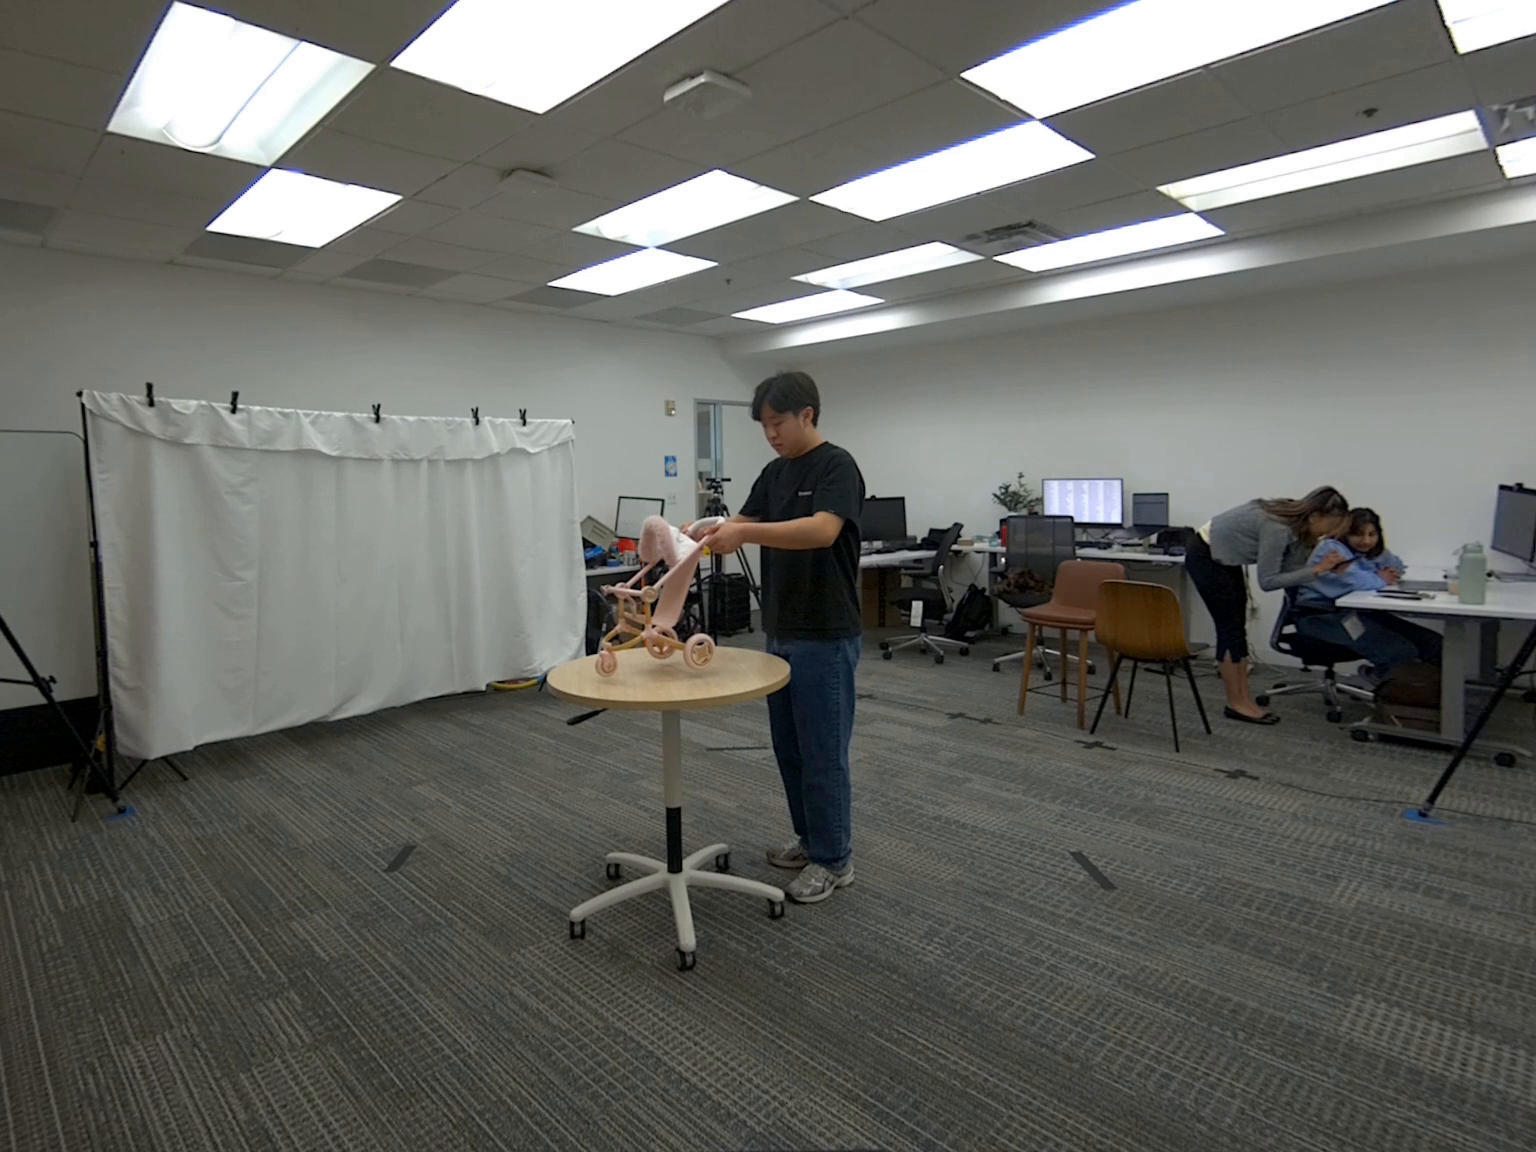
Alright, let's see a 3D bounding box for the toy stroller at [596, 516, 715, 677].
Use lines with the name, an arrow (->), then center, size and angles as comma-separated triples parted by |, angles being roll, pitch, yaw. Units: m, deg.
toy stroller -> -0.337, 0.057, 2.648 | 0.332, 0.536, 0.288 | 10, -4, -27
